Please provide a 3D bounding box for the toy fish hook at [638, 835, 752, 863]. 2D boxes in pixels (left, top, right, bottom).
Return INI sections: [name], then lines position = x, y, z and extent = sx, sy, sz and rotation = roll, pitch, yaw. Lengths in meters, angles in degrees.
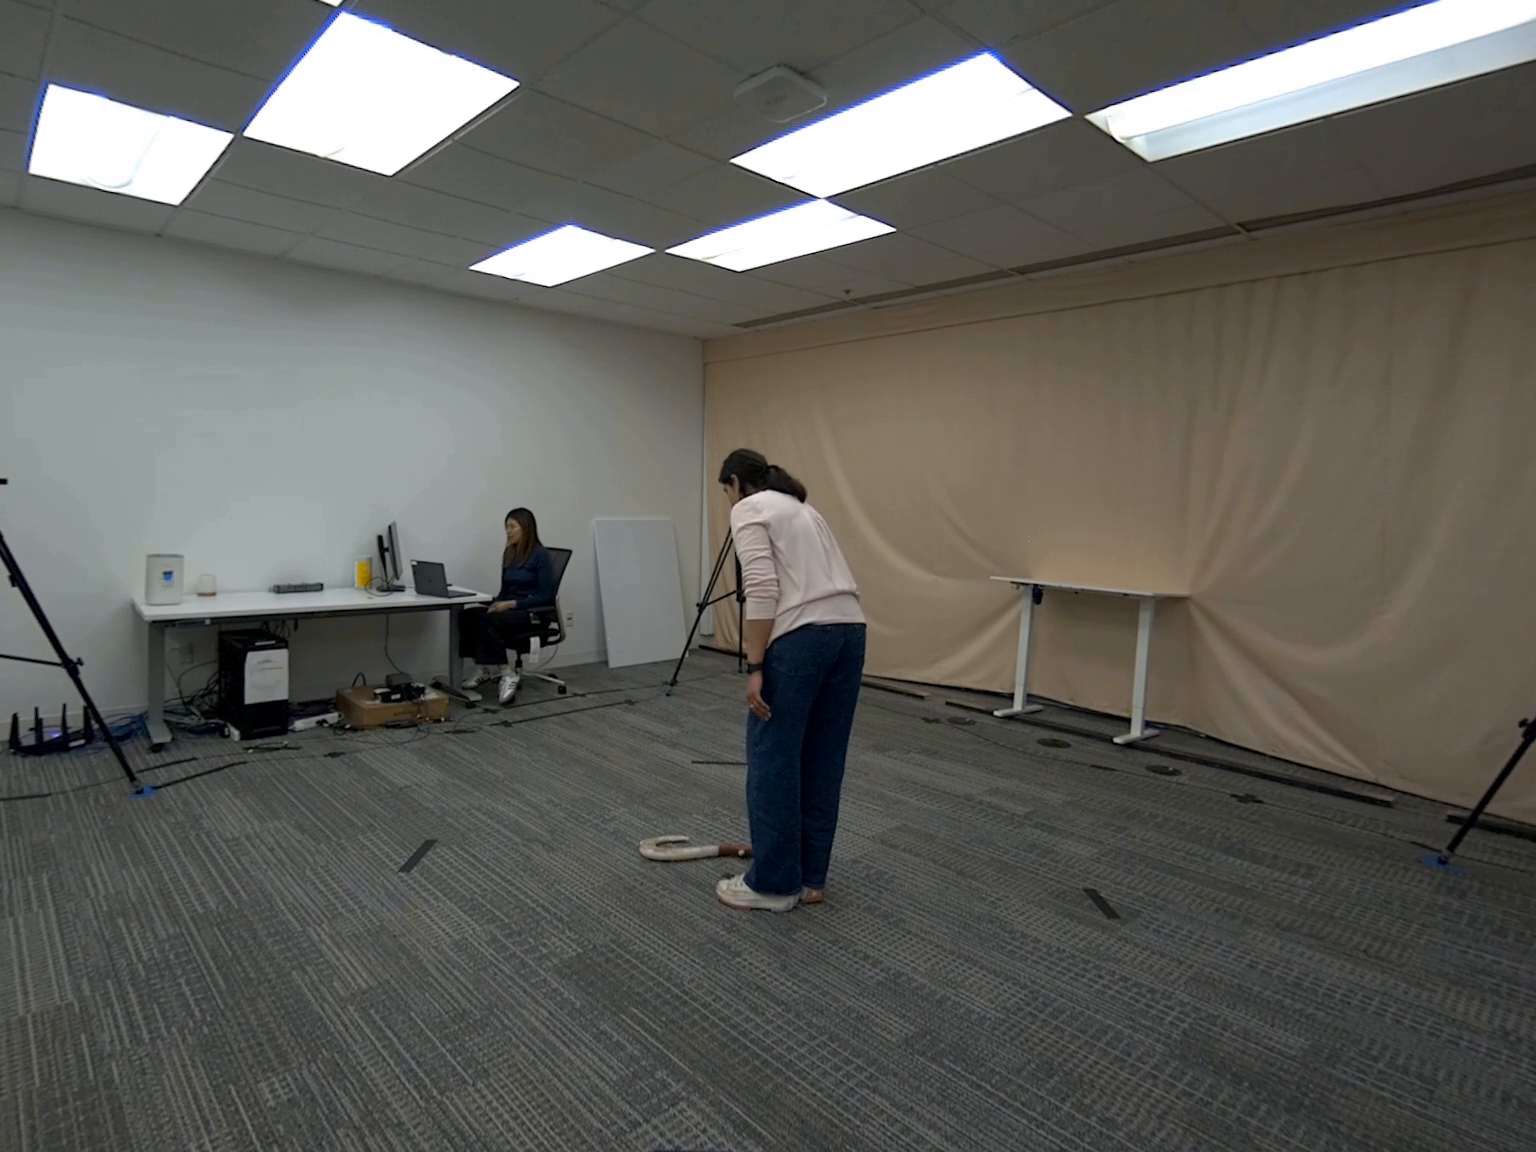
[toy fish hook]
position = -0.256, 1.059, 3.312
extent = 0.505, 0.048, 0.226
rotation = 1, 6, -4
